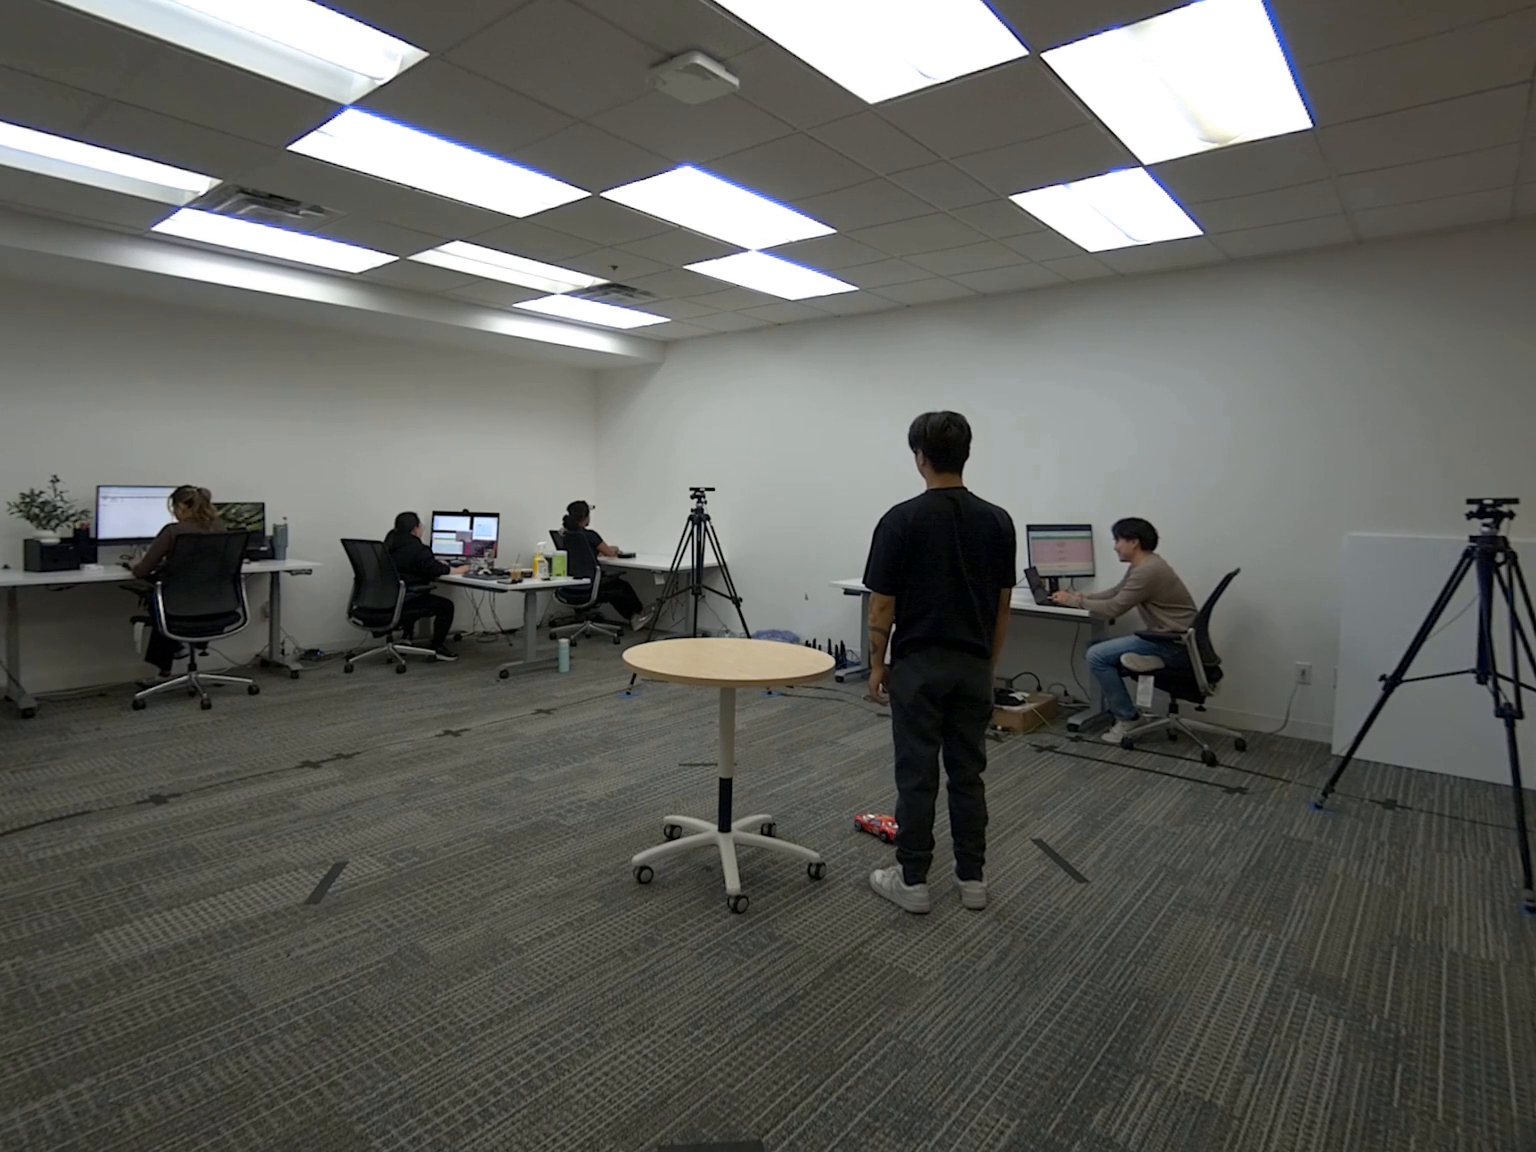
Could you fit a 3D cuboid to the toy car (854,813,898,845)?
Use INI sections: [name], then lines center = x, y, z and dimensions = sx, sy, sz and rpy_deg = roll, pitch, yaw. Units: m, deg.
[toy car]
center = 0.466, 1.018, 3.455
dimensions = 0.126, 0.084, 0.261
rpy_deg = -1, -5, -38
